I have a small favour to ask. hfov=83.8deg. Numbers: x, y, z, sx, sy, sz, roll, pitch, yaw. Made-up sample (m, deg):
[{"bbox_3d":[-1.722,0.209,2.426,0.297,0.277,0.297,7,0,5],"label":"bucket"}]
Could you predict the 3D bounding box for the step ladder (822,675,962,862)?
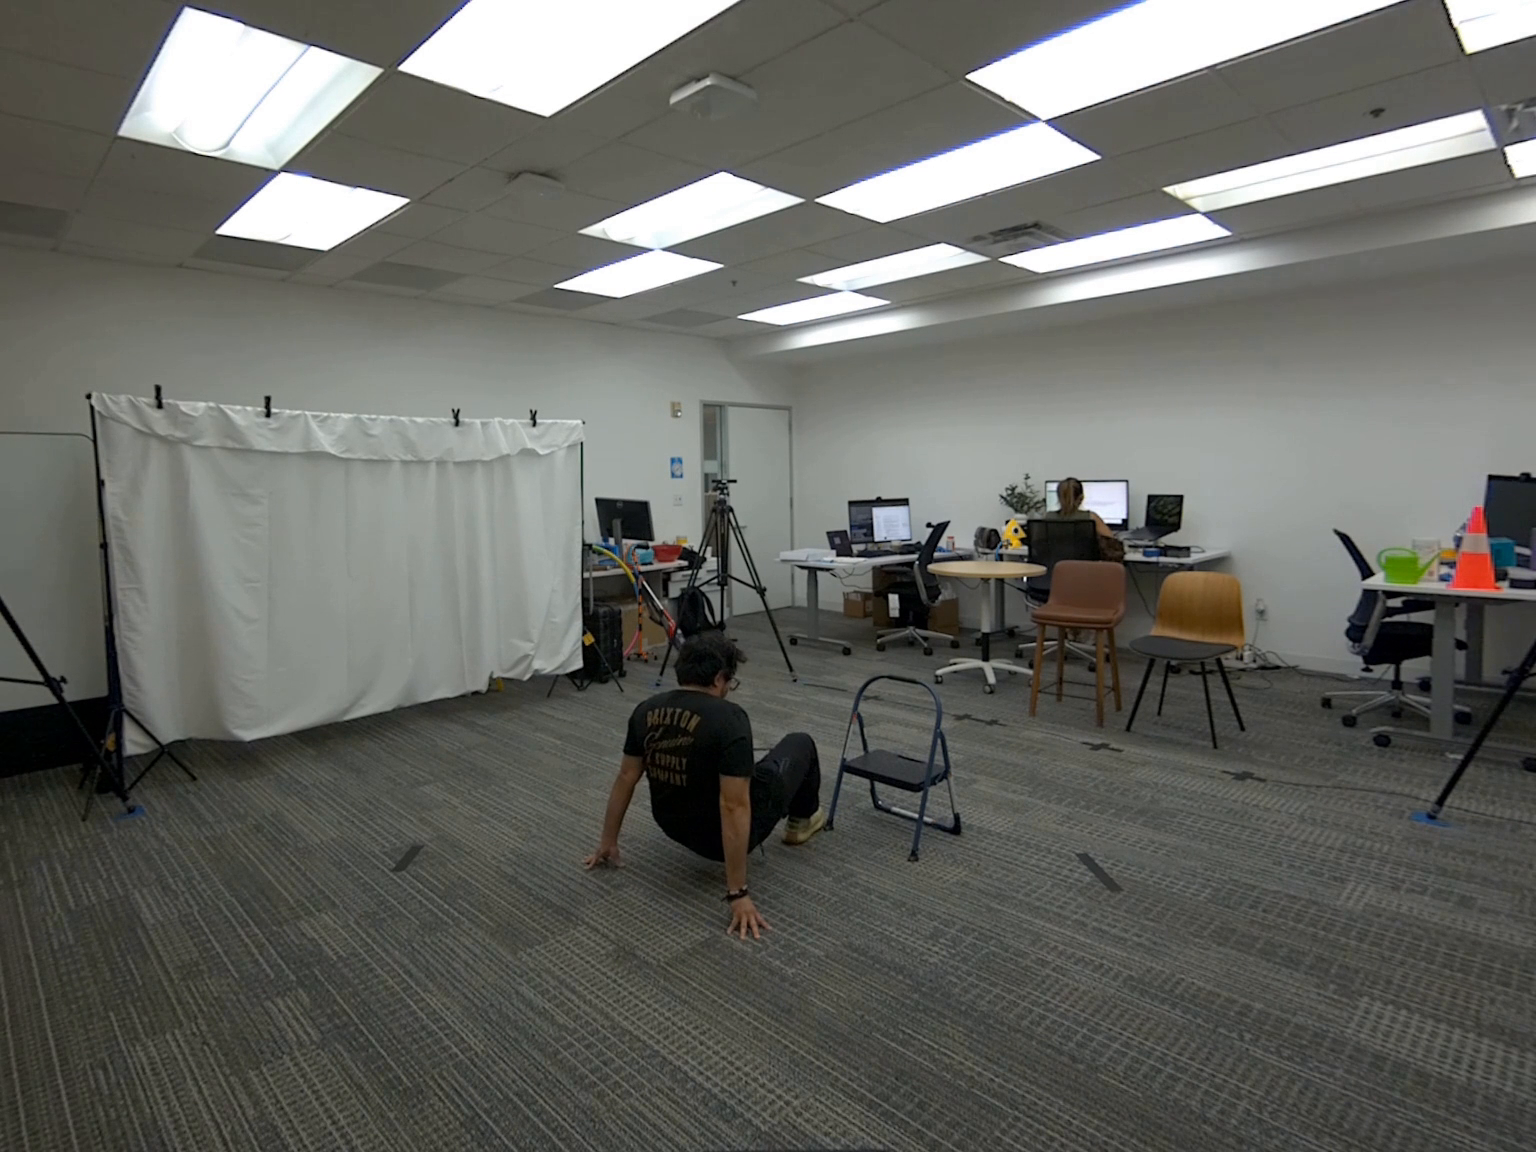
[{"bbox_3d":[0.492,0.707,3.355,0.444,0.604,0.340,4,6,45],"label":"step ladder"}]
